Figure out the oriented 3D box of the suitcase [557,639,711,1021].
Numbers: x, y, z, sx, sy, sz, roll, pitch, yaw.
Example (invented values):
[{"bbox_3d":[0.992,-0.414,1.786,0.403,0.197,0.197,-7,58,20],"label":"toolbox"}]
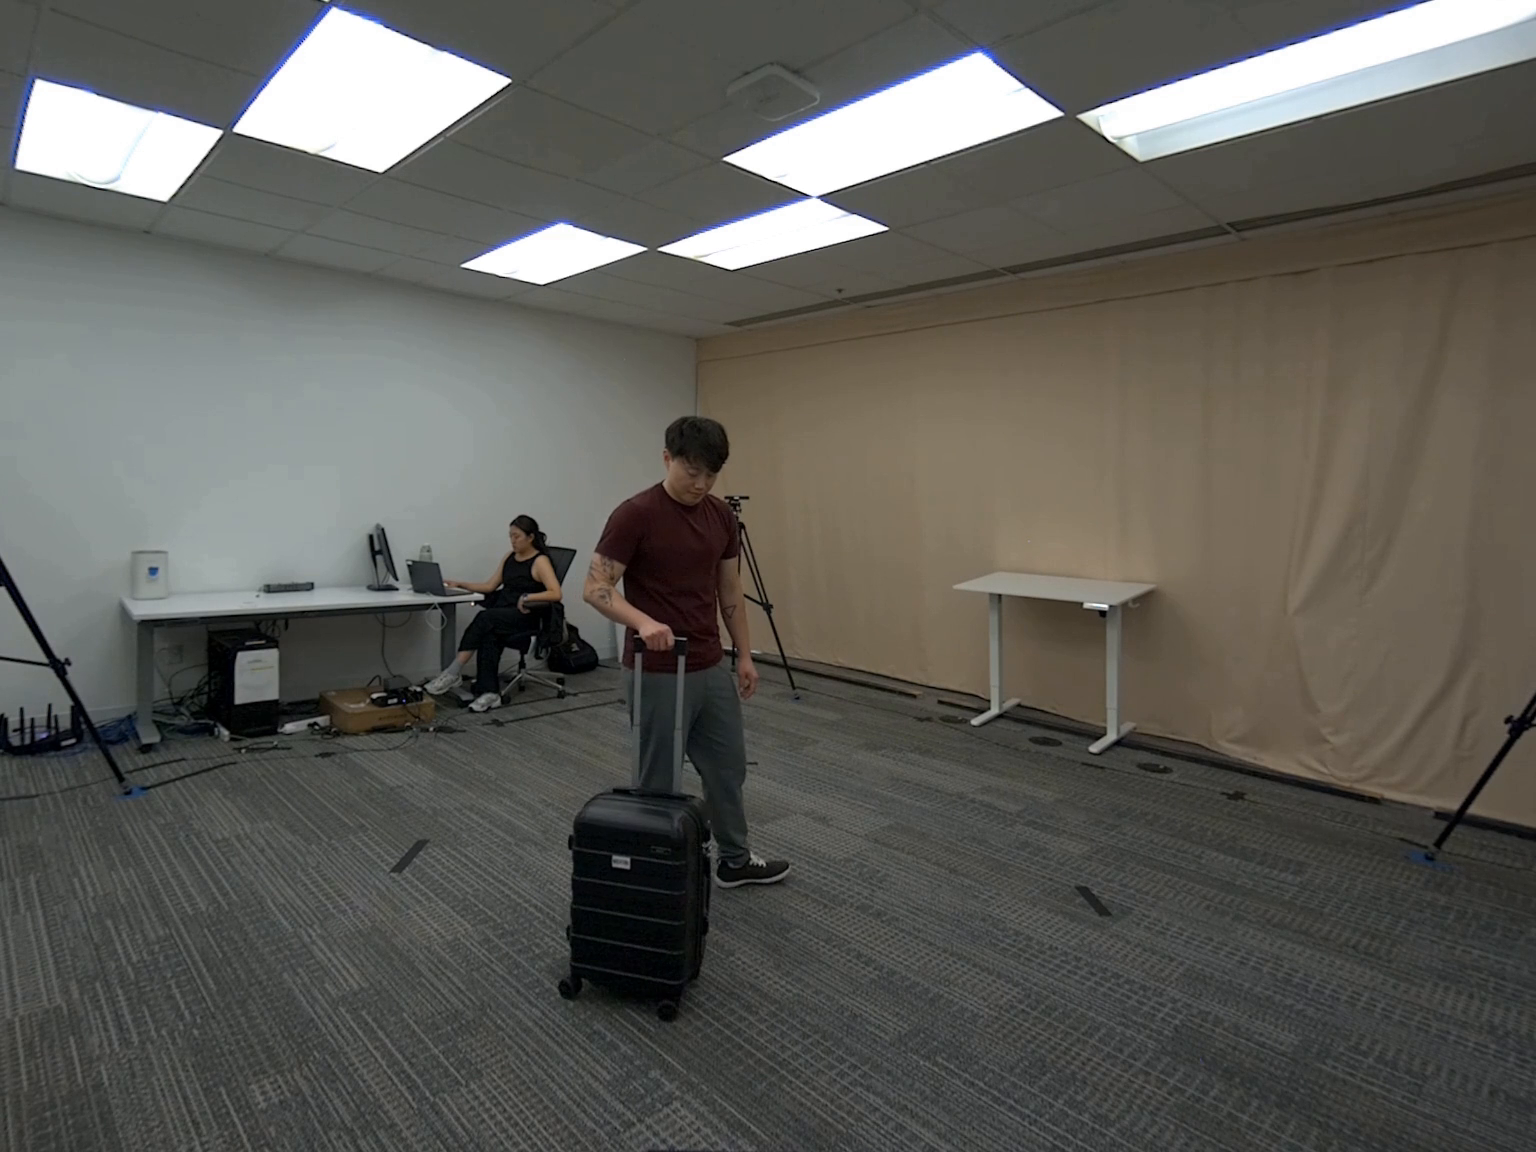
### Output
[{"bbox_3d":[-0.363,0.693,2.354,0.388,0.975,0.255,3,5,14],"label":"suitcase"}]
